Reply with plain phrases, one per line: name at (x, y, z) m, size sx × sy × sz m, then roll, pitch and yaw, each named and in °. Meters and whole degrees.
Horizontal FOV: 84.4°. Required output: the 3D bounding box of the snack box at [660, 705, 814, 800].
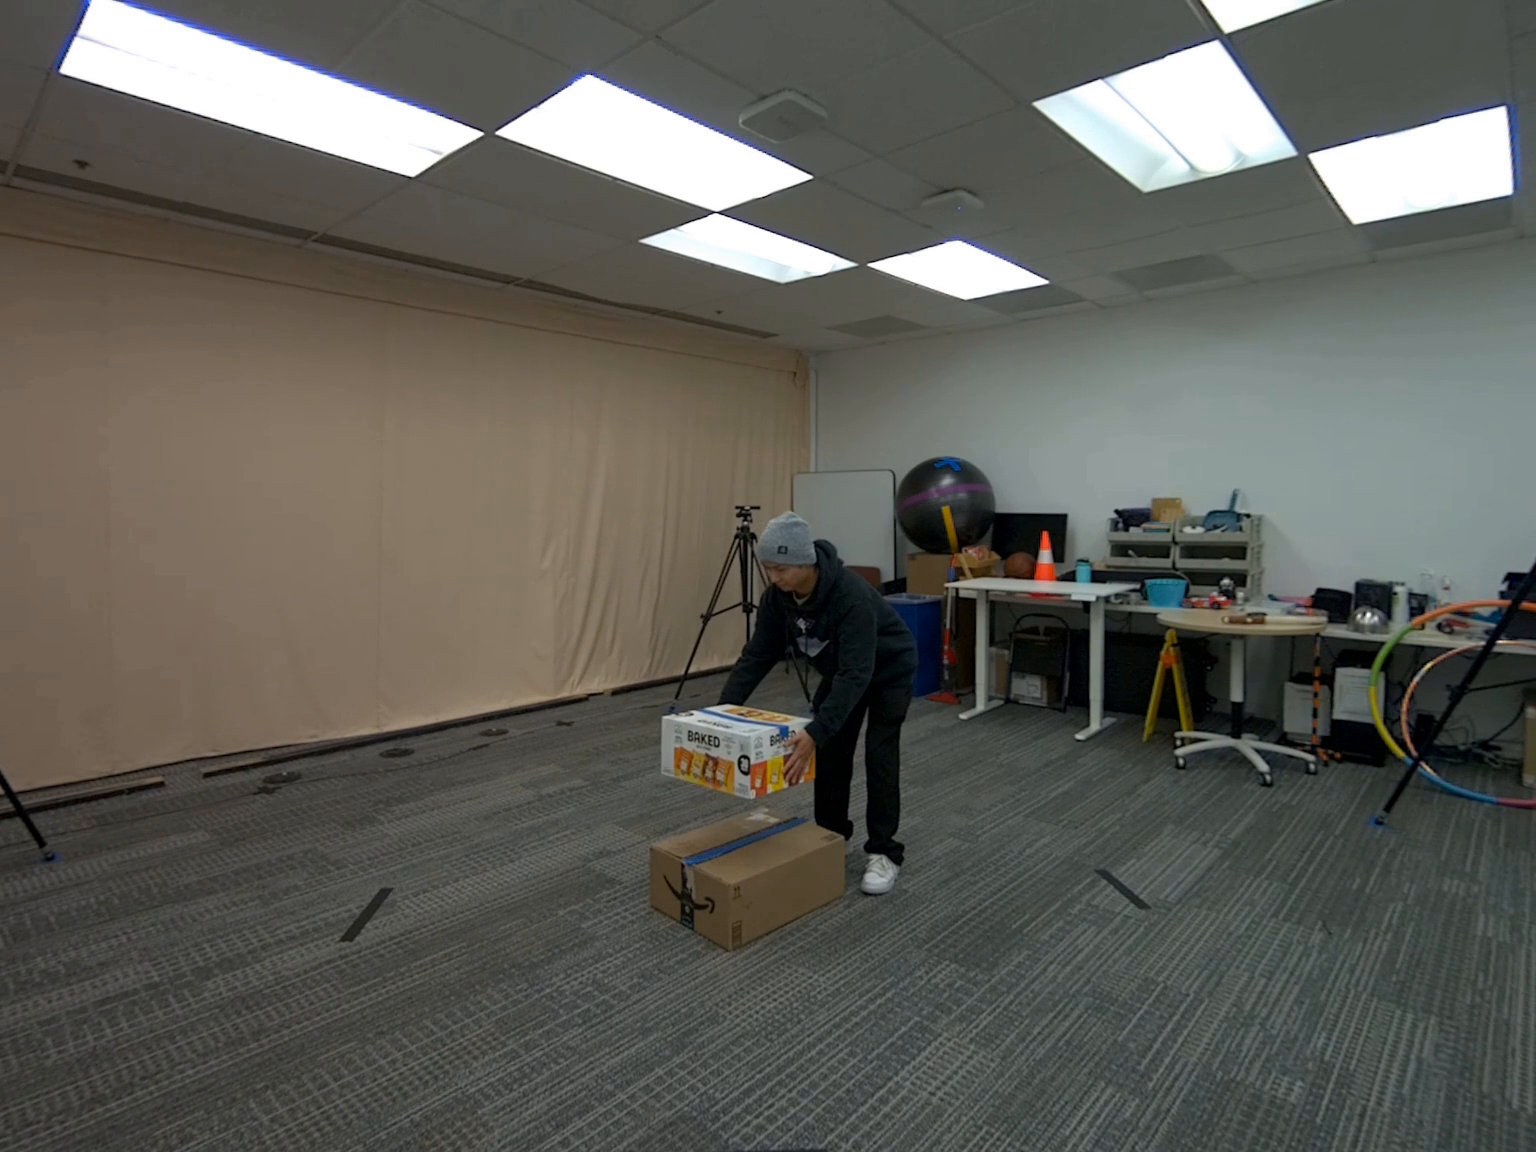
snack box at (-0.102, 0.592, 2.886) m, size 0.418 × 0.205 × 0.329 m, roll 2°, pitch 2°, yaw 42°
